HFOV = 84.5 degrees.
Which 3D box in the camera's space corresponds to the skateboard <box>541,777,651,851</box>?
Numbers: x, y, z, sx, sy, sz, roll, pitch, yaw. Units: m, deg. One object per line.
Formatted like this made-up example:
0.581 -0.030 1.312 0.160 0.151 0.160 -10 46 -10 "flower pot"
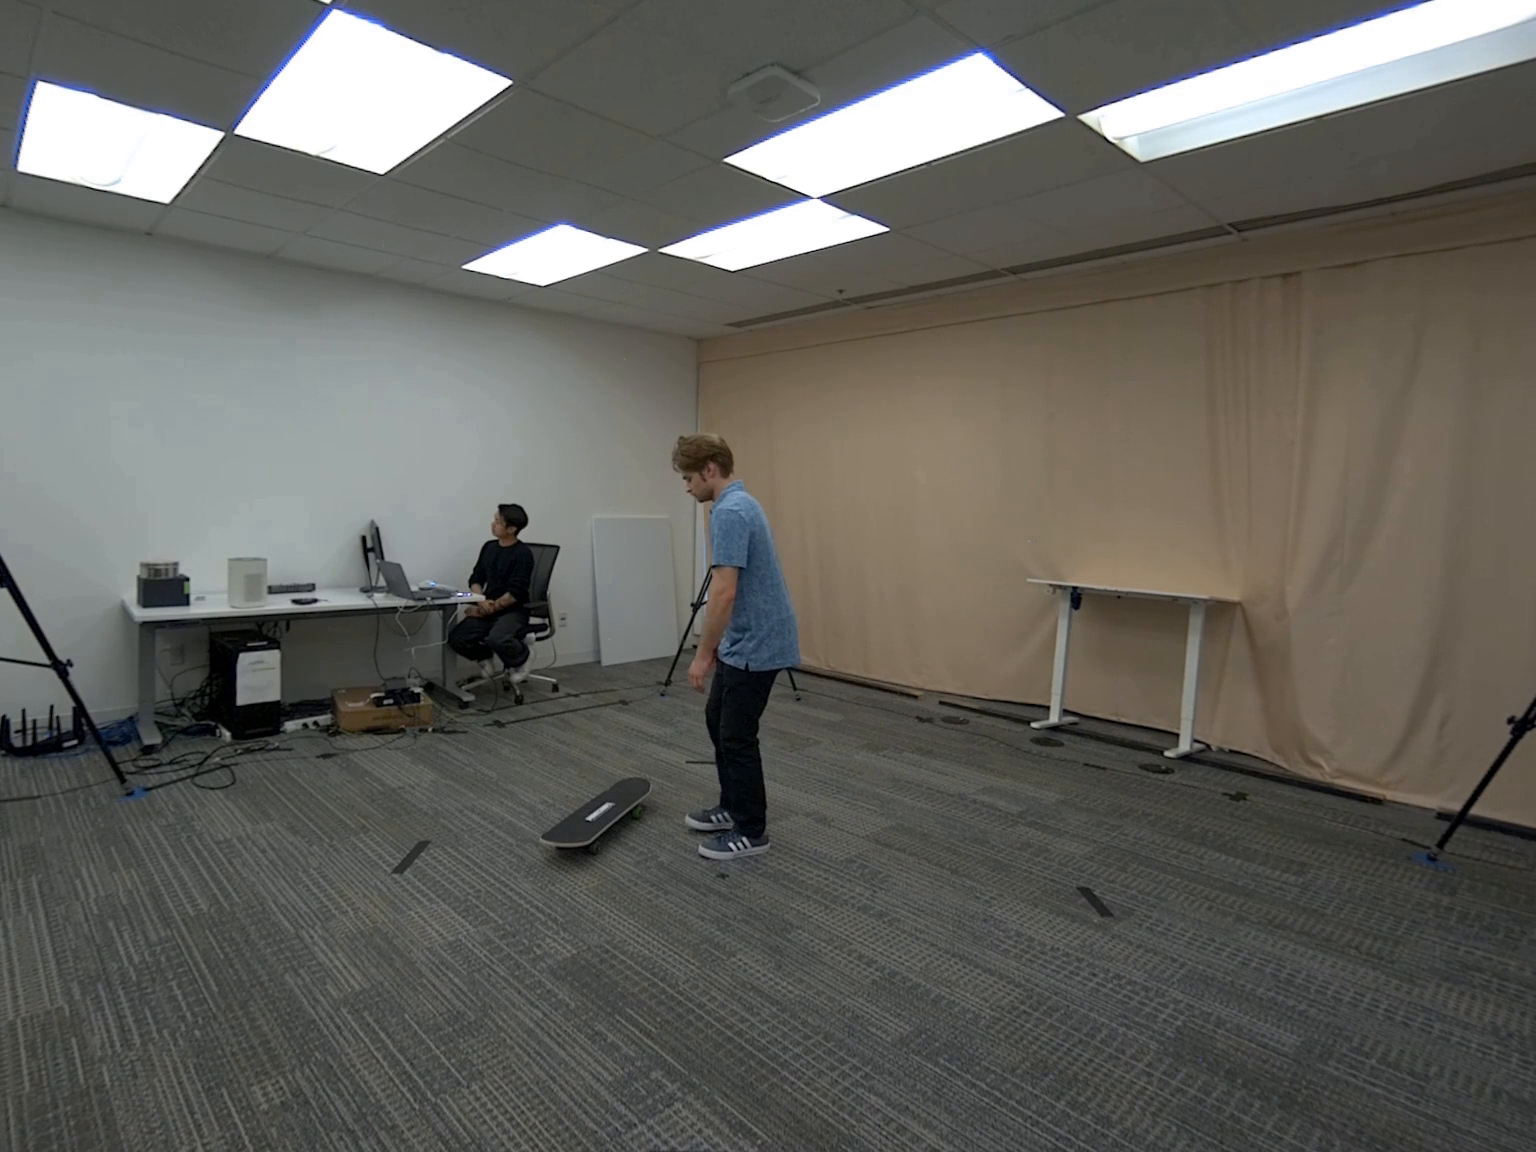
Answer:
-0.695 1.002 3.475 0.196 0.110 0.777 2 5 15 "skateboard"
